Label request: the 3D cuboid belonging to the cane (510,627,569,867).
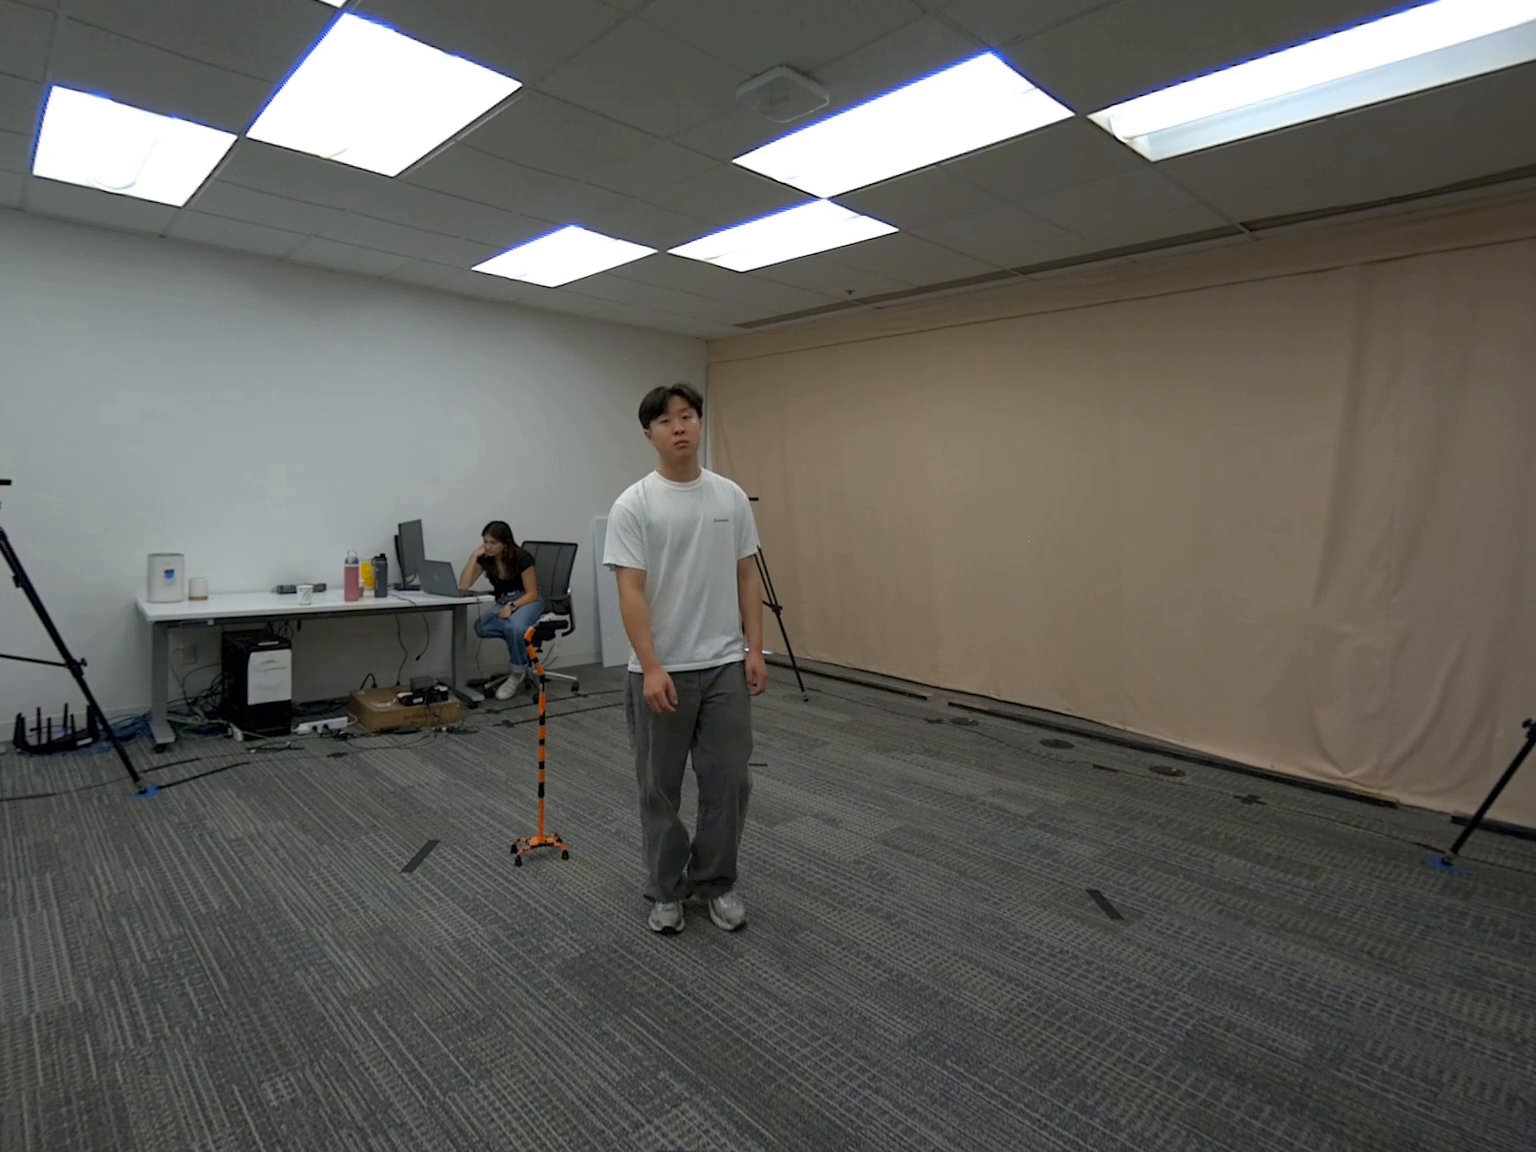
[{"bbox_3d":[-0.880,0.631,3.222,0.203,0.906,0.155,0,3,-25],"label":"cane"}]
